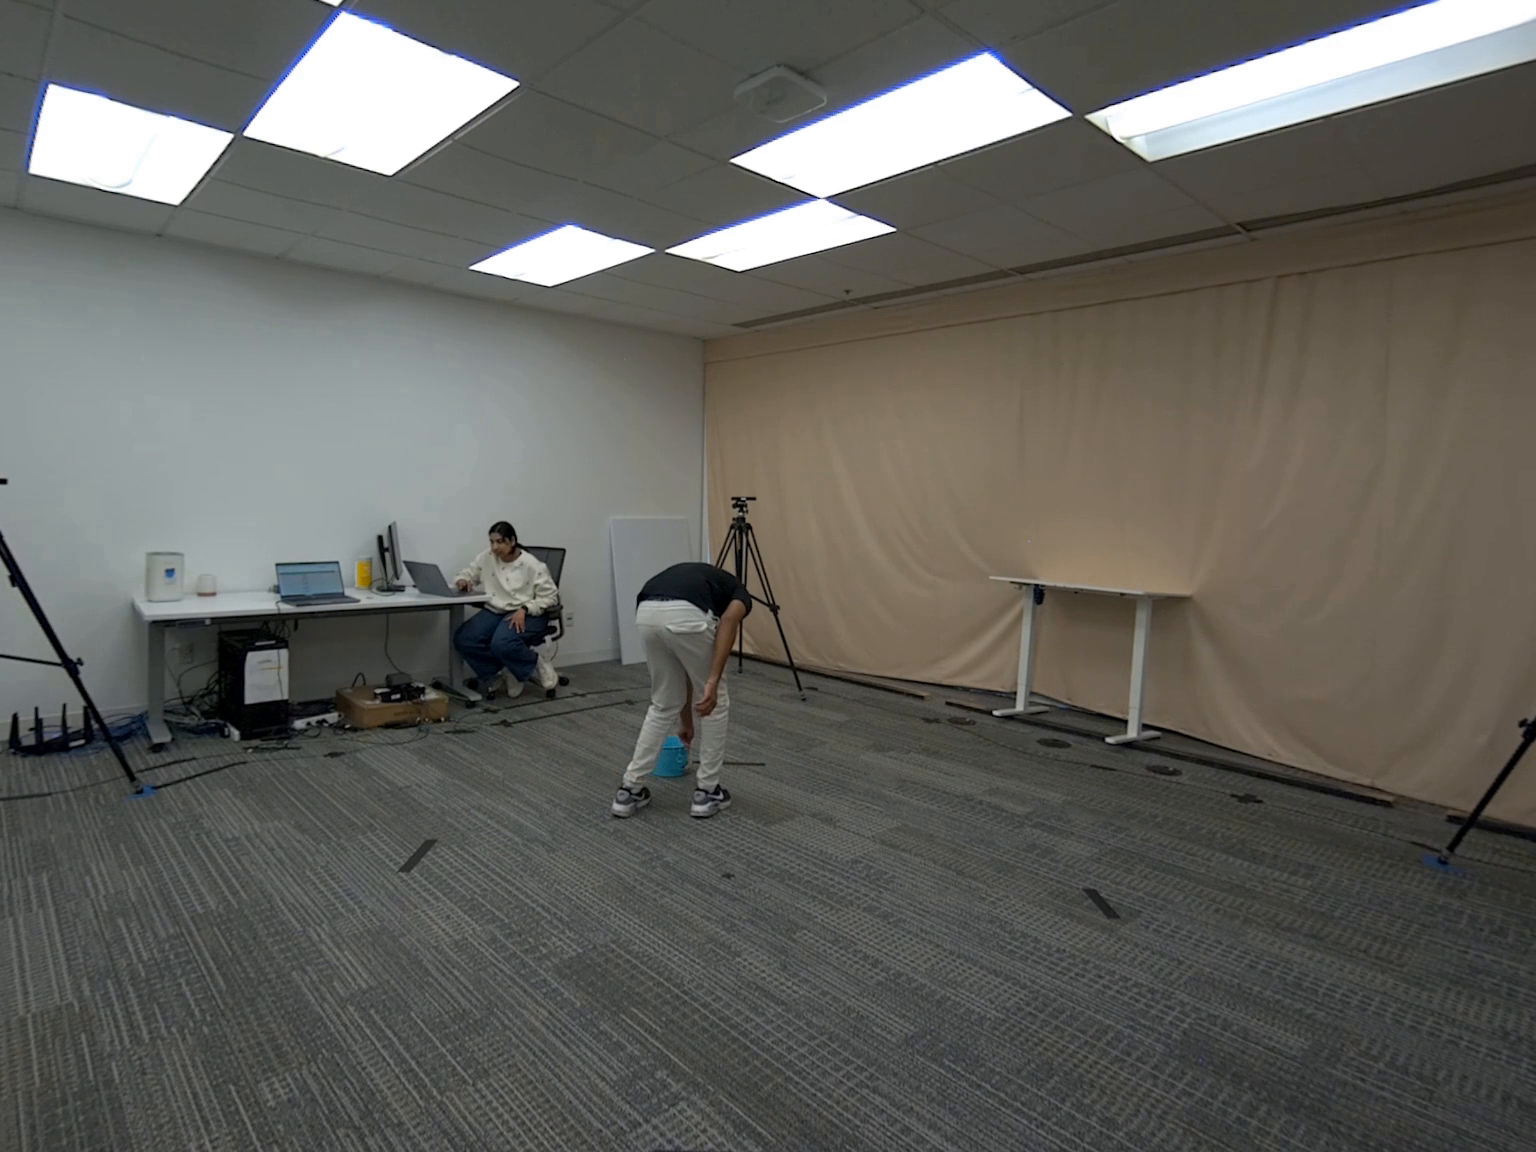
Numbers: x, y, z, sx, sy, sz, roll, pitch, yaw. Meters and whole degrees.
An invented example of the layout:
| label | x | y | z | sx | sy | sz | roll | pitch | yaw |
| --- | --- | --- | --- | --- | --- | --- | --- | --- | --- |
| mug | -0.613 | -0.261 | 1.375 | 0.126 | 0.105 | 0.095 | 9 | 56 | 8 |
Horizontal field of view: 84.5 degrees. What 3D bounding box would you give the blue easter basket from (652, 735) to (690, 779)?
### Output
| label | x | y | z | sx | sy | sz | roll | pitch | yaw |
| --- | --- | --- | --- | --- | --- | --- | --- | --- | --- |
| blue easter basket | -0.514 | 0.916 | 4.282 | 0.243 | 0.155 | 0.244 | 1 | 4 | -1 |
